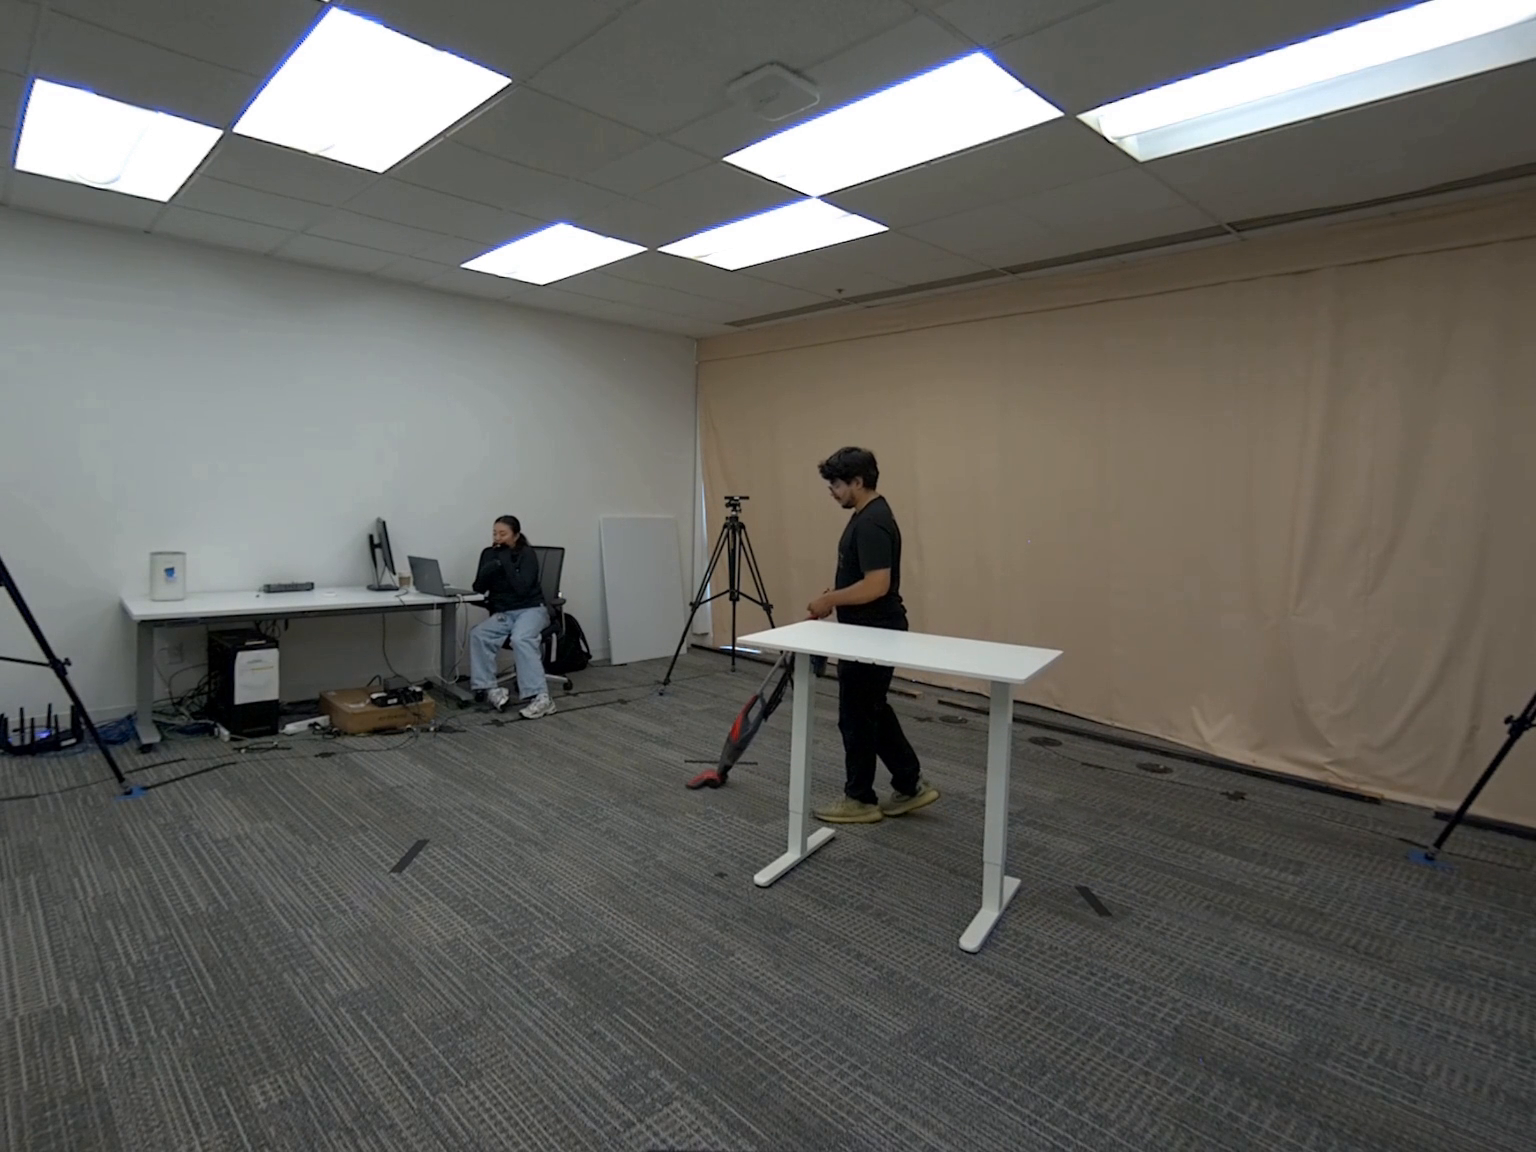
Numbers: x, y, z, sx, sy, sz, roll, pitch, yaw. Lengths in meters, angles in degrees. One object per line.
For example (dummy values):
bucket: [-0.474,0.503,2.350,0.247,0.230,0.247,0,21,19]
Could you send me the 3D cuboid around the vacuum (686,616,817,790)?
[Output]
vacuum: [-0.026,0.577,3.966,0.146,1.046,0.250,36,17,11]
